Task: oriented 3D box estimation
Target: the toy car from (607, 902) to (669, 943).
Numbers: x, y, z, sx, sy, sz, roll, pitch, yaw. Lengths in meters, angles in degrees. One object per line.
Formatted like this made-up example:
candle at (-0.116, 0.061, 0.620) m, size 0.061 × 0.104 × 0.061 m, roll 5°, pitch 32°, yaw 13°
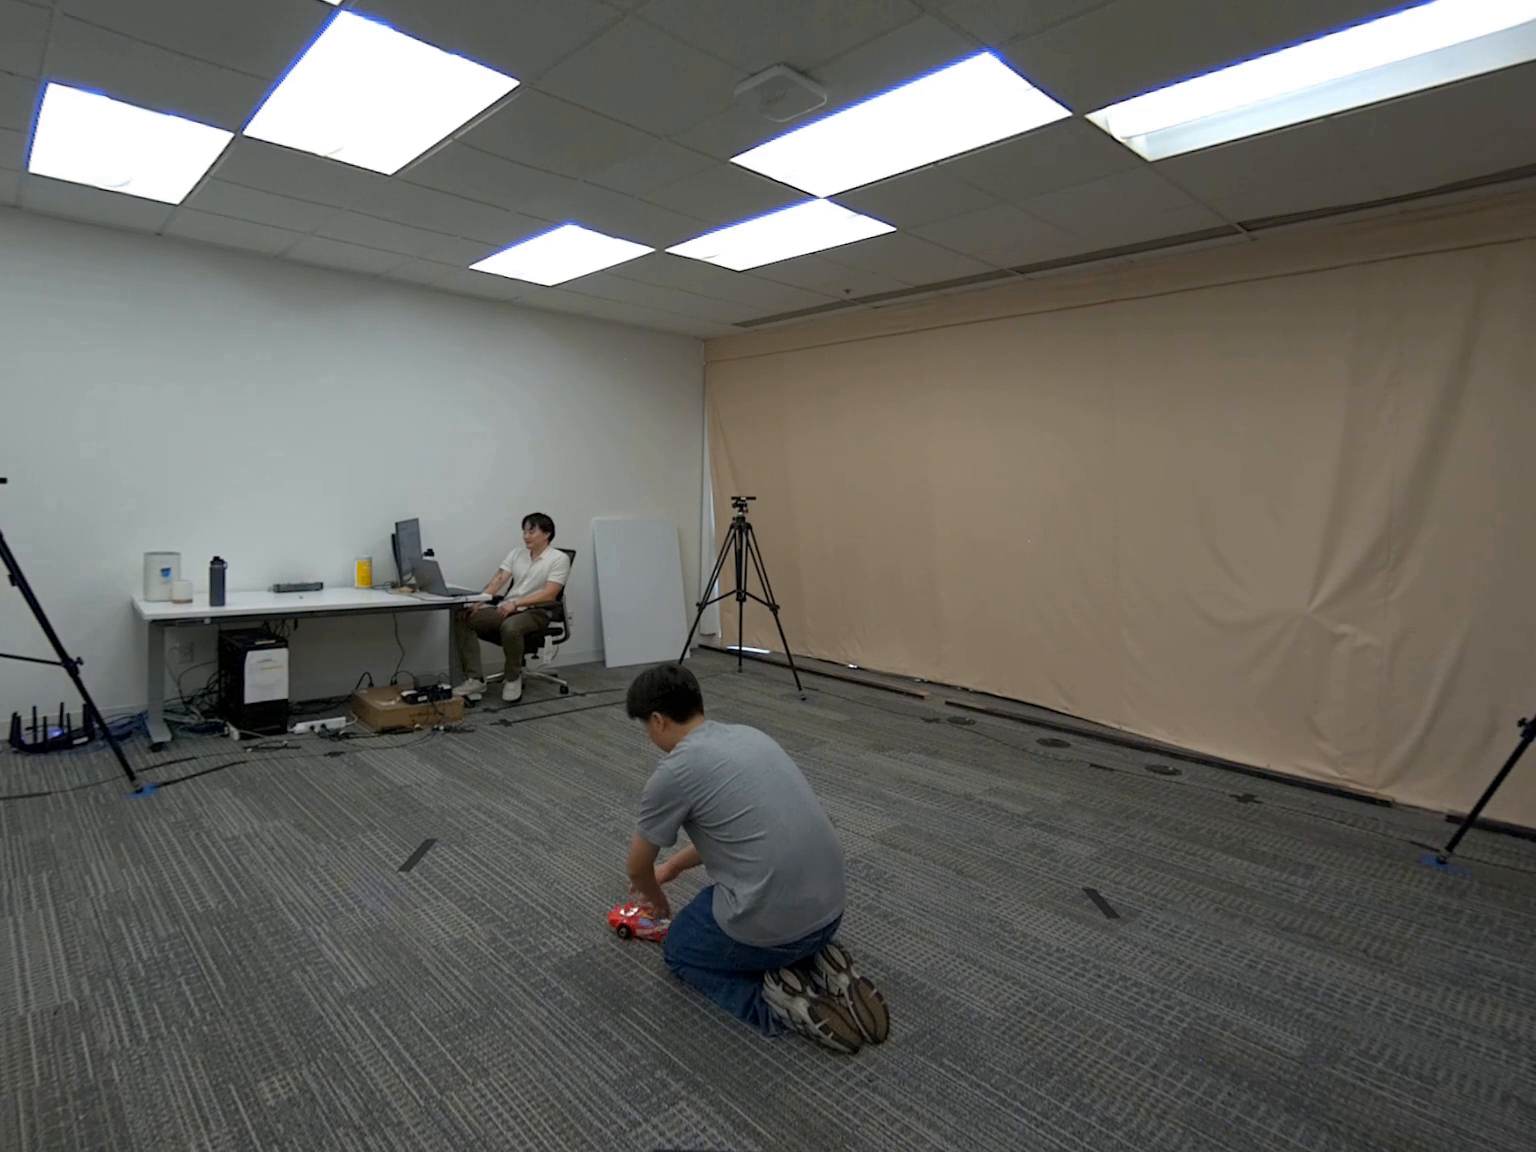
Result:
toy car at (-0.400, 1.112, 2.668) m, size 0.258 × 0.083 × 0.129 m, roll 16°, pitch 8°, yaw 15°
